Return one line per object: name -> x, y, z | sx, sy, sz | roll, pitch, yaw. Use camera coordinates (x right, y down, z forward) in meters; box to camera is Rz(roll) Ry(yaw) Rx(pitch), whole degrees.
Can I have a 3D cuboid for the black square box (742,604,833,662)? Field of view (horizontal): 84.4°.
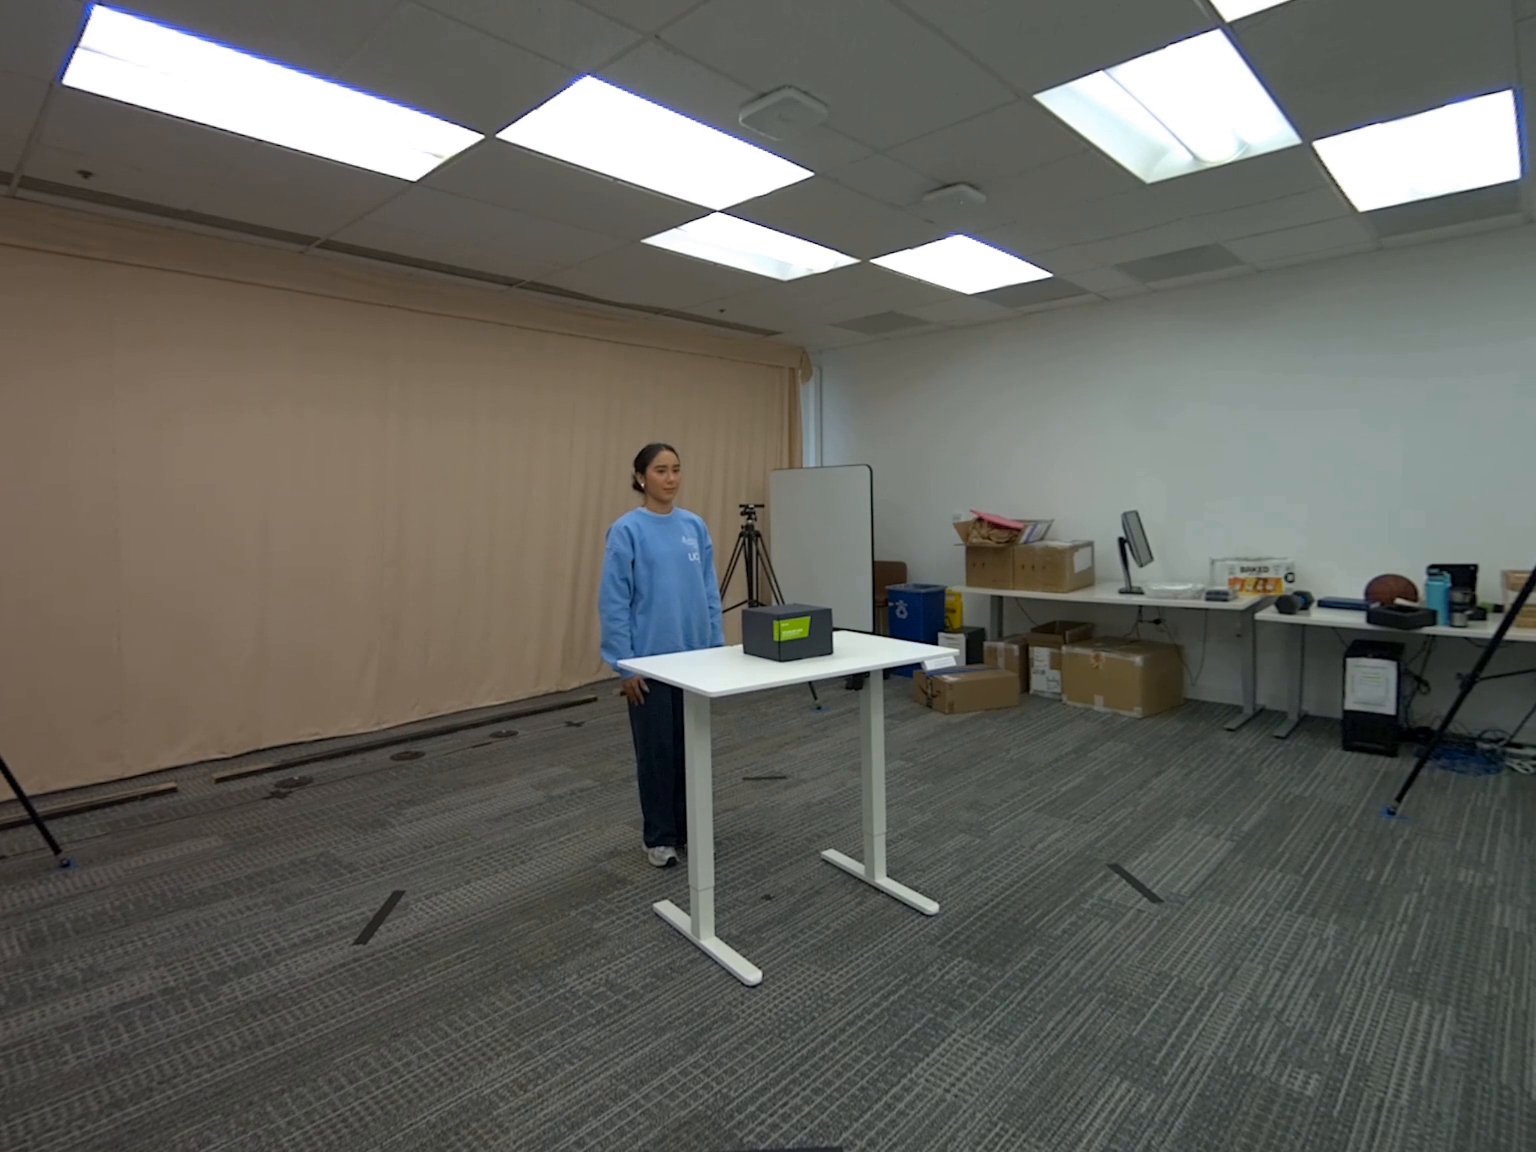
black square box -> 0.064, 0.188, 2.867 | 0.221, 0.155, 0.224 | -4, 5, -34
